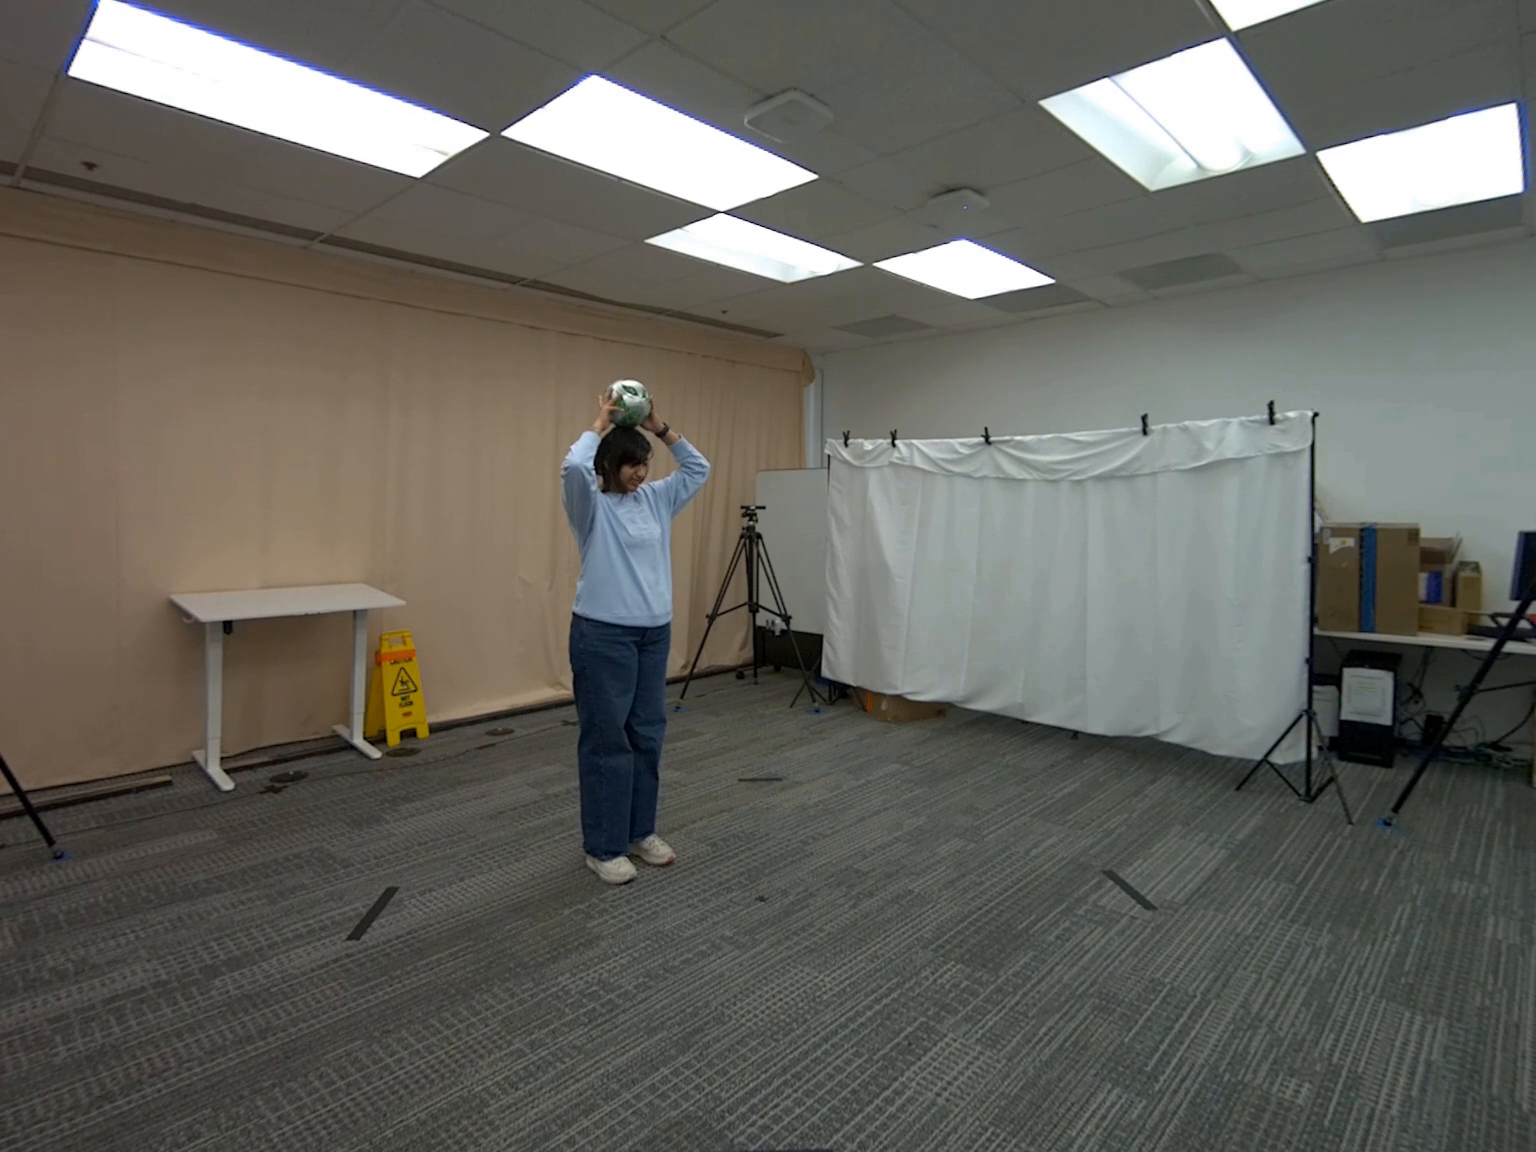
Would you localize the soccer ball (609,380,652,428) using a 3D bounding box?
[{"bbox_3d":[-0.542,-0.656,3.202,0.187,0.187,0.188,0,4,-2],"label":"soccer ball"}]
